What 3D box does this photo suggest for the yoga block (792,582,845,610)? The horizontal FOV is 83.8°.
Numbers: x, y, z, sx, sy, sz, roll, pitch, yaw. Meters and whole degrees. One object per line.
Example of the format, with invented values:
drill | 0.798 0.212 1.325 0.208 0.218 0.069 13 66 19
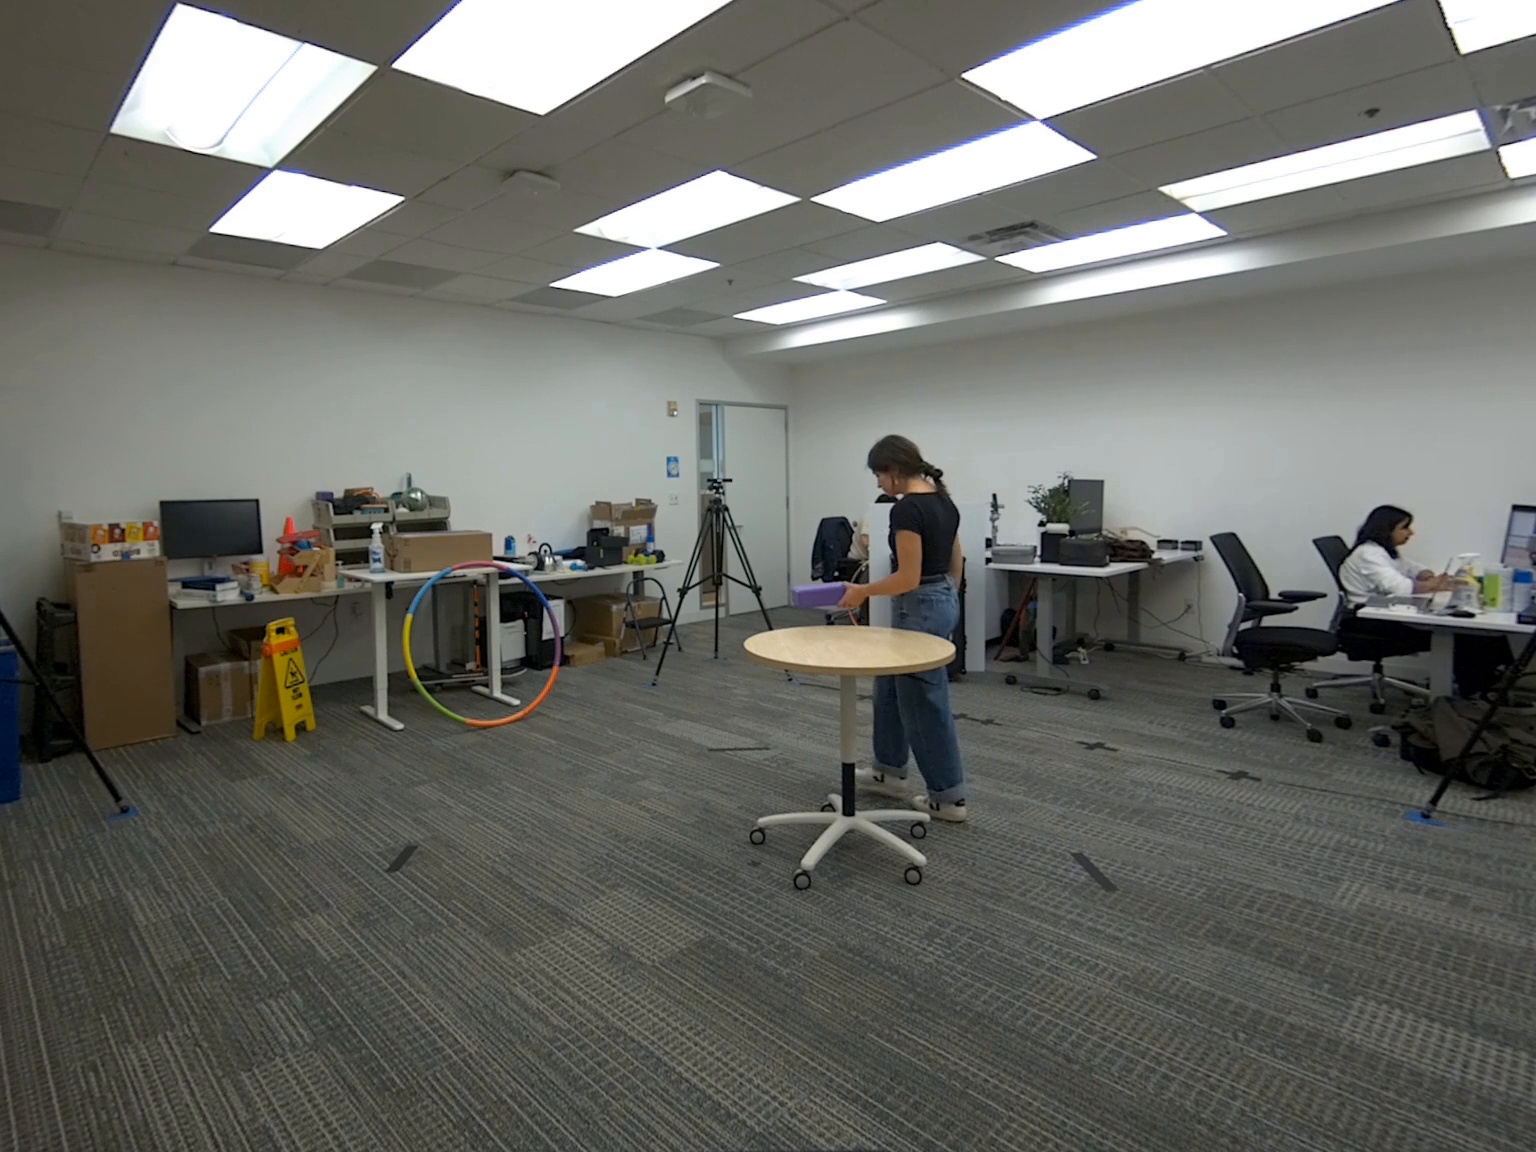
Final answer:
yoga block | 0.238 0.087 3.604 0.230 0.076 0.149 -4 7 2
